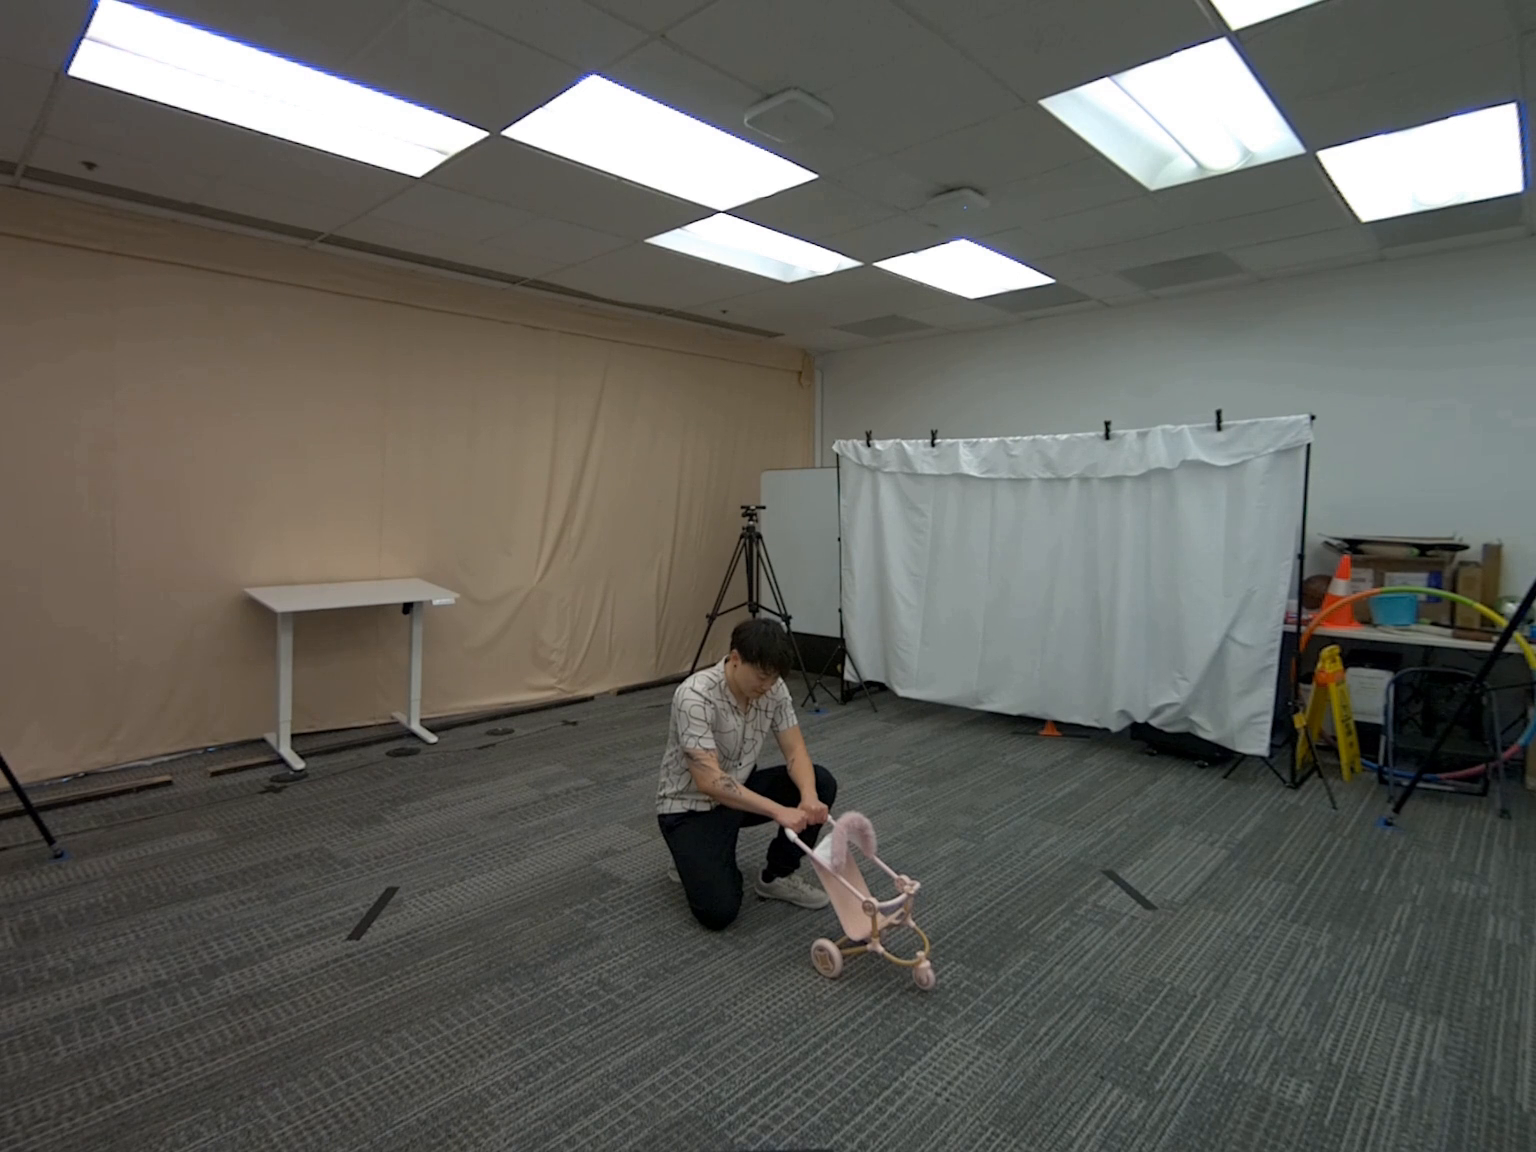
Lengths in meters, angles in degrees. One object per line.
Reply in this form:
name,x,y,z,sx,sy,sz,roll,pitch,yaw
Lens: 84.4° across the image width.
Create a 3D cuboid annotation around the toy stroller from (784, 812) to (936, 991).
toy stroller,0.292,0.956,2.538,0.273,0.540,0.348,-6,-14,-46
